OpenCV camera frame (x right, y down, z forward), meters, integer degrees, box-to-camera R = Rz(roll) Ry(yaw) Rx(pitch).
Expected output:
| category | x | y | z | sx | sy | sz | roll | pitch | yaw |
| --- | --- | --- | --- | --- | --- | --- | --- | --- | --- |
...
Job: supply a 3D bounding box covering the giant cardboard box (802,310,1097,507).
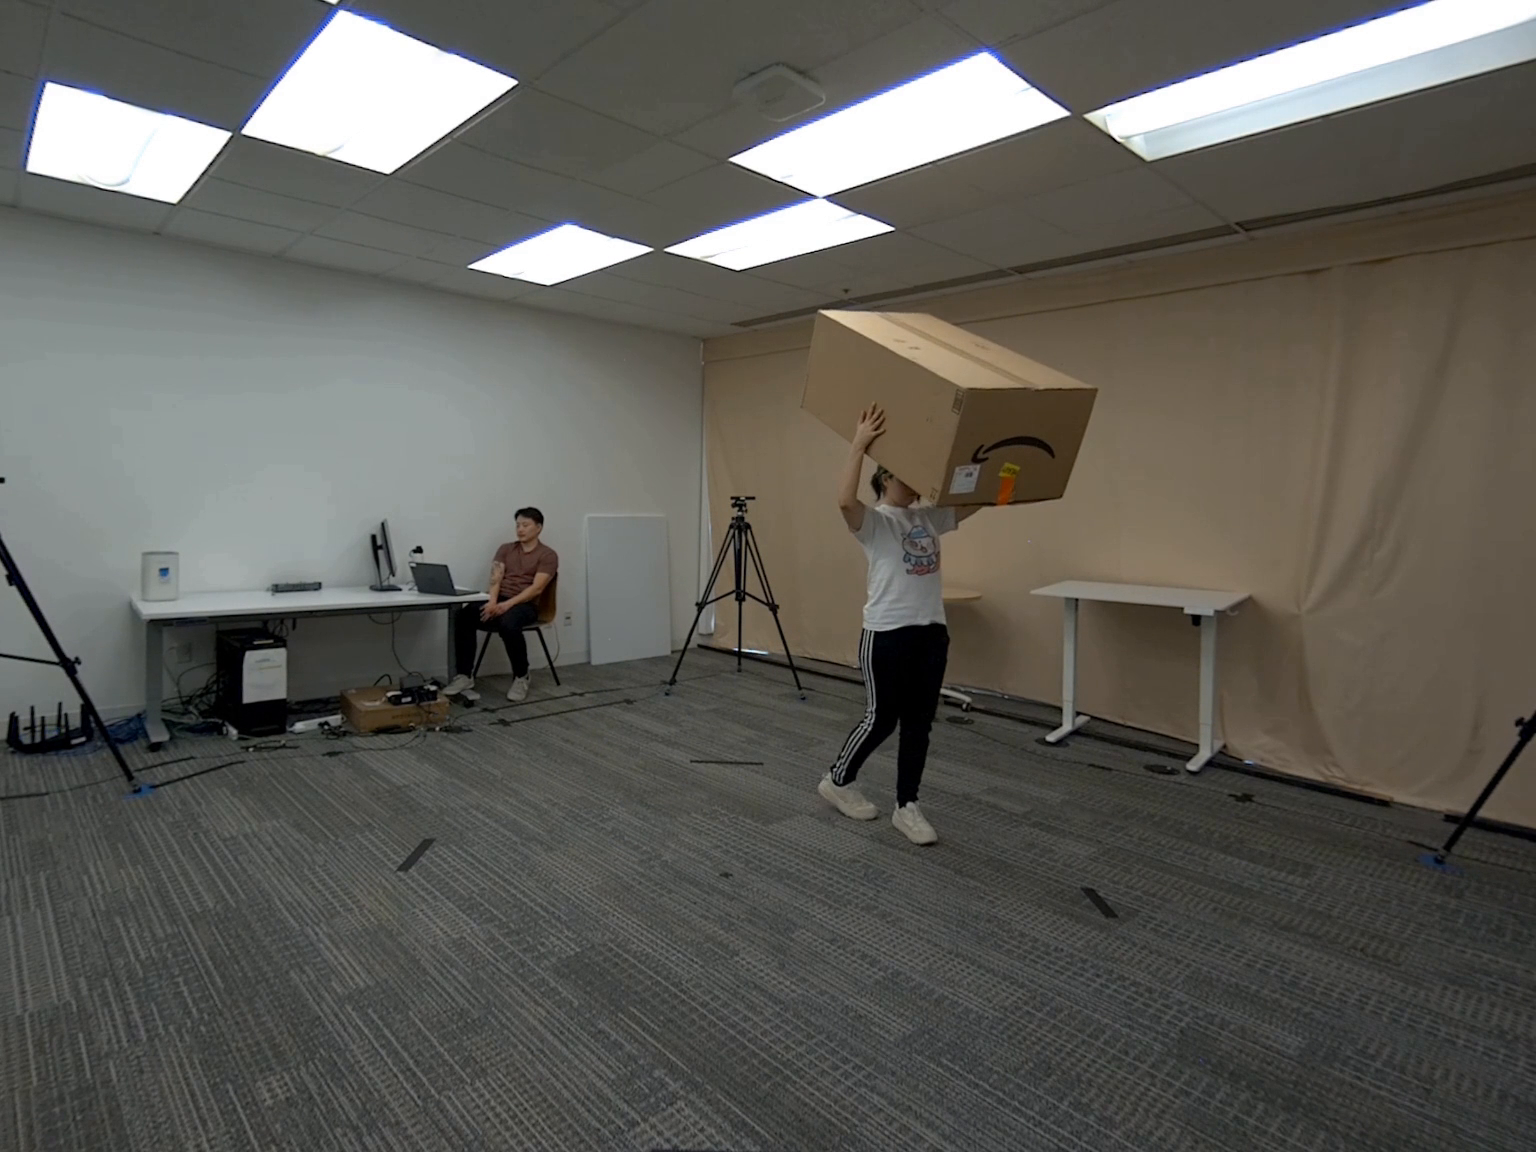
| category | x | y | z | sx | sy | sz | roll | pitch | yaw |
| --- | --- | --- | --- | --- | --- | --- | --- | --- | --- |
| giant cardboard box | 0.639 | -0.686 | 3.294 | 0.574 | 0.440 | 1.059 | -4 | 31 | -25 |
